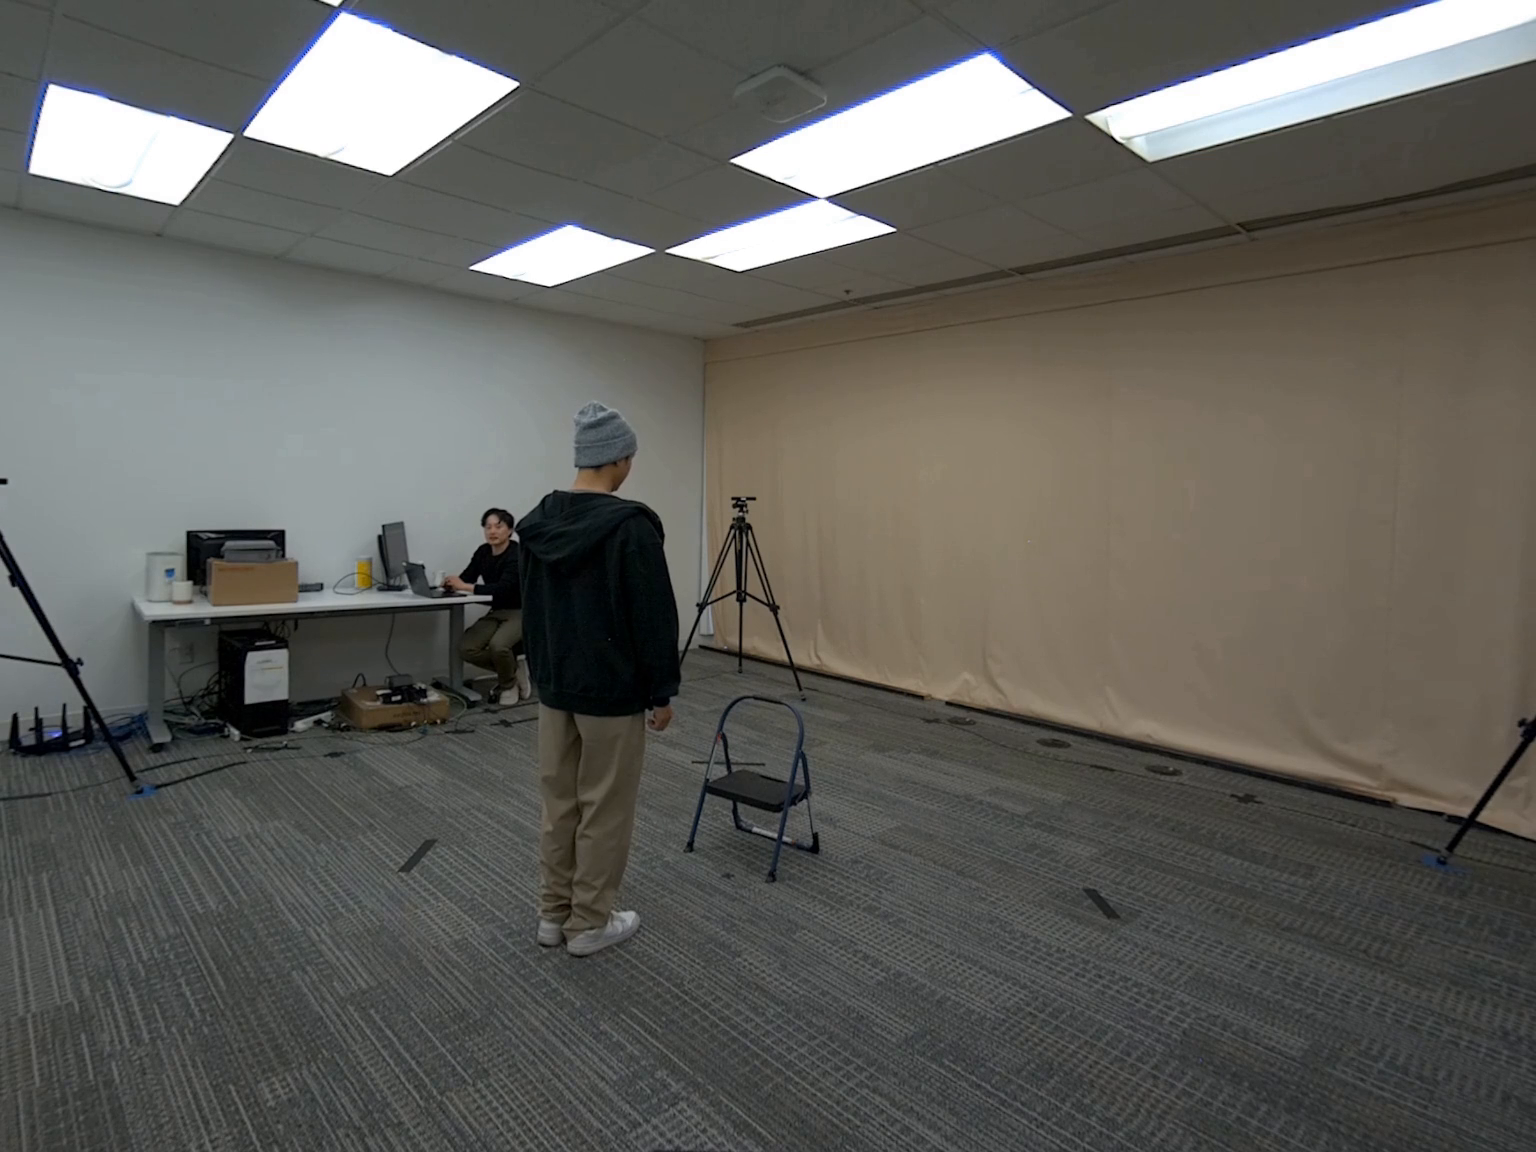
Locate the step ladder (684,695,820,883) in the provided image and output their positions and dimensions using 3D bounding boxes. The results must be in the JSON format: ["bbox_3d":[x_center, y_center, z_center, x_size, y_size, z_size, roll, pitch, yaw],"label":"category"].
[{"bbox_3d":[-0.056,0.788,3.304,0.441,0.604,0.342,4,5,36],"label":"step ladder"}]
